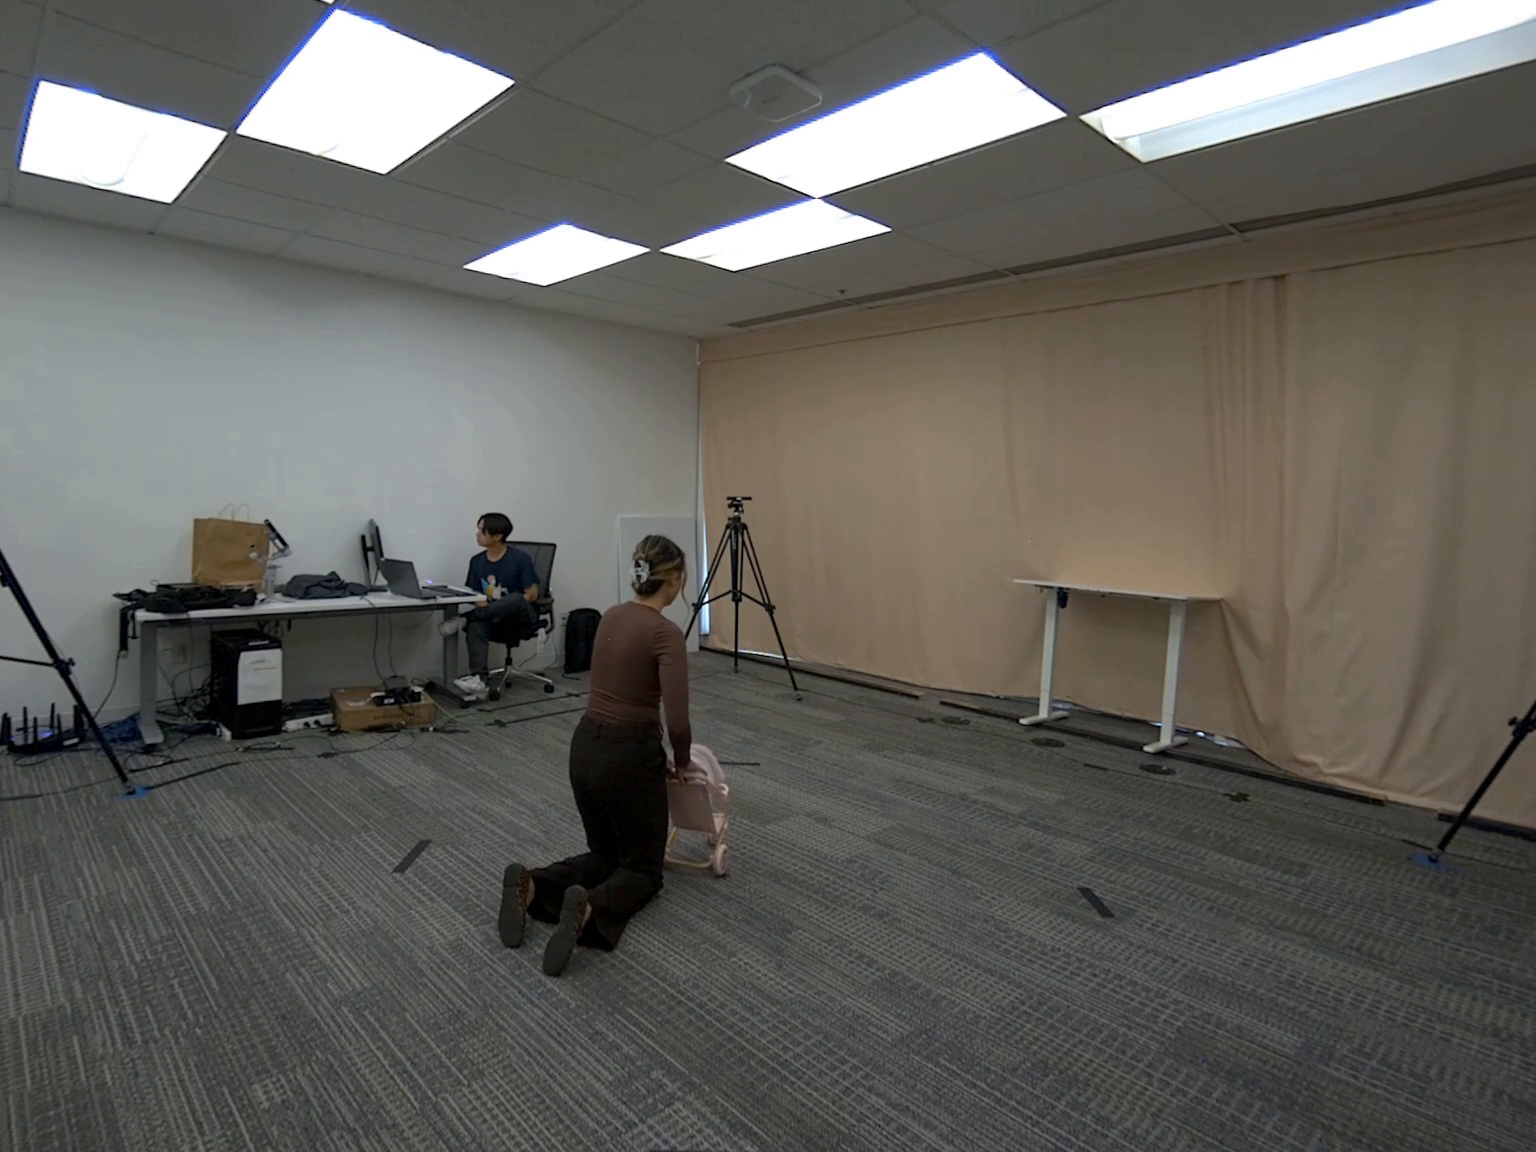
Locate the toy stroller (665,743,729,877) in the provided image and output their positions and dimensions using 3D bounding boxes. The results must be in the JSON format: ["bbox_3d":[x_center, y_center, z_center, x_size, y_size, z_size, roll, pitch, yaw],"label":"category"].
[{"bbox_3d":[-0.279,0.870,3.204,0.286,0.527,0.341,3,20,19],"label":"toy stroller"}]
